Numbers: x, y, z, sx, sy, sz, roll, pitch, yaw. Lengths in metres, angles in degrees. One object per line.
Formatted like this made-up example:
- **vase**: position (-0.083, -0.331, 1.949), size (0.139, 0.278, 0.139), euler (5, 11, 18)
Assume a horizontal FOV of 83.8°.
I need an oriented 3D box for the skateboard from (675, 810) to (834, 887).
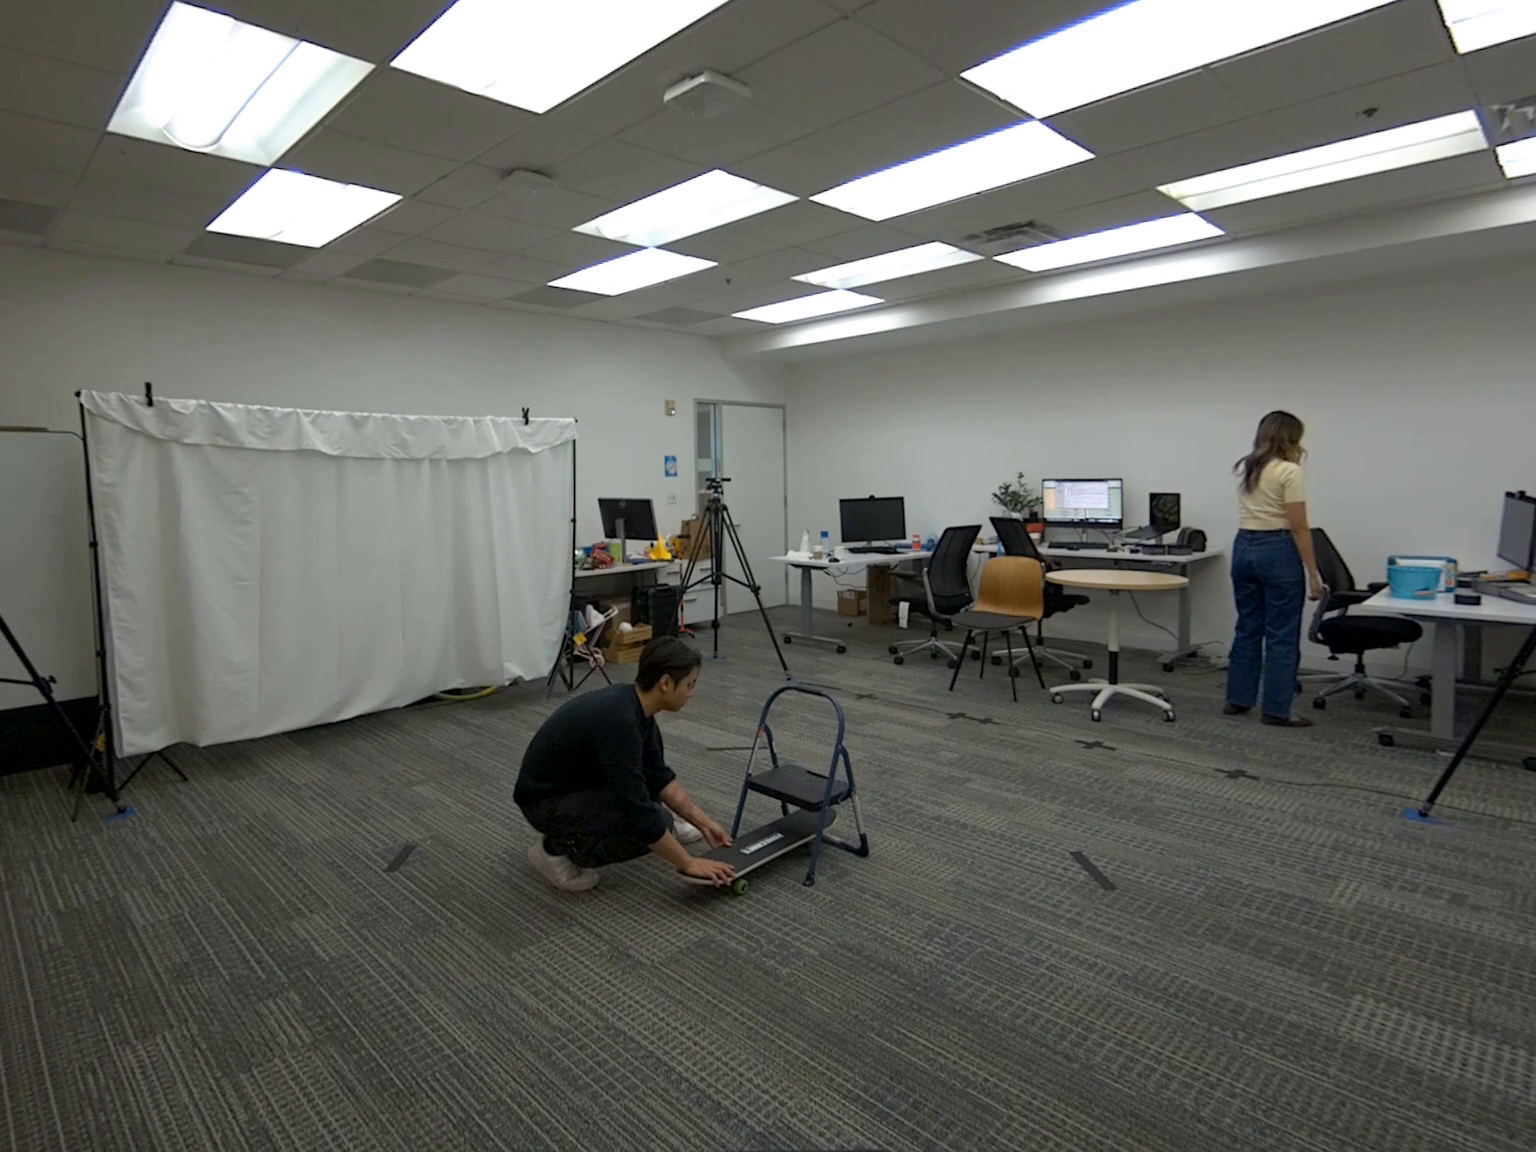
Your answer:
- **skateboard**: position (-0.016, 0.982, 3.085), size (0.199, 0.110, 0.766), euler (4, 8, 39)
